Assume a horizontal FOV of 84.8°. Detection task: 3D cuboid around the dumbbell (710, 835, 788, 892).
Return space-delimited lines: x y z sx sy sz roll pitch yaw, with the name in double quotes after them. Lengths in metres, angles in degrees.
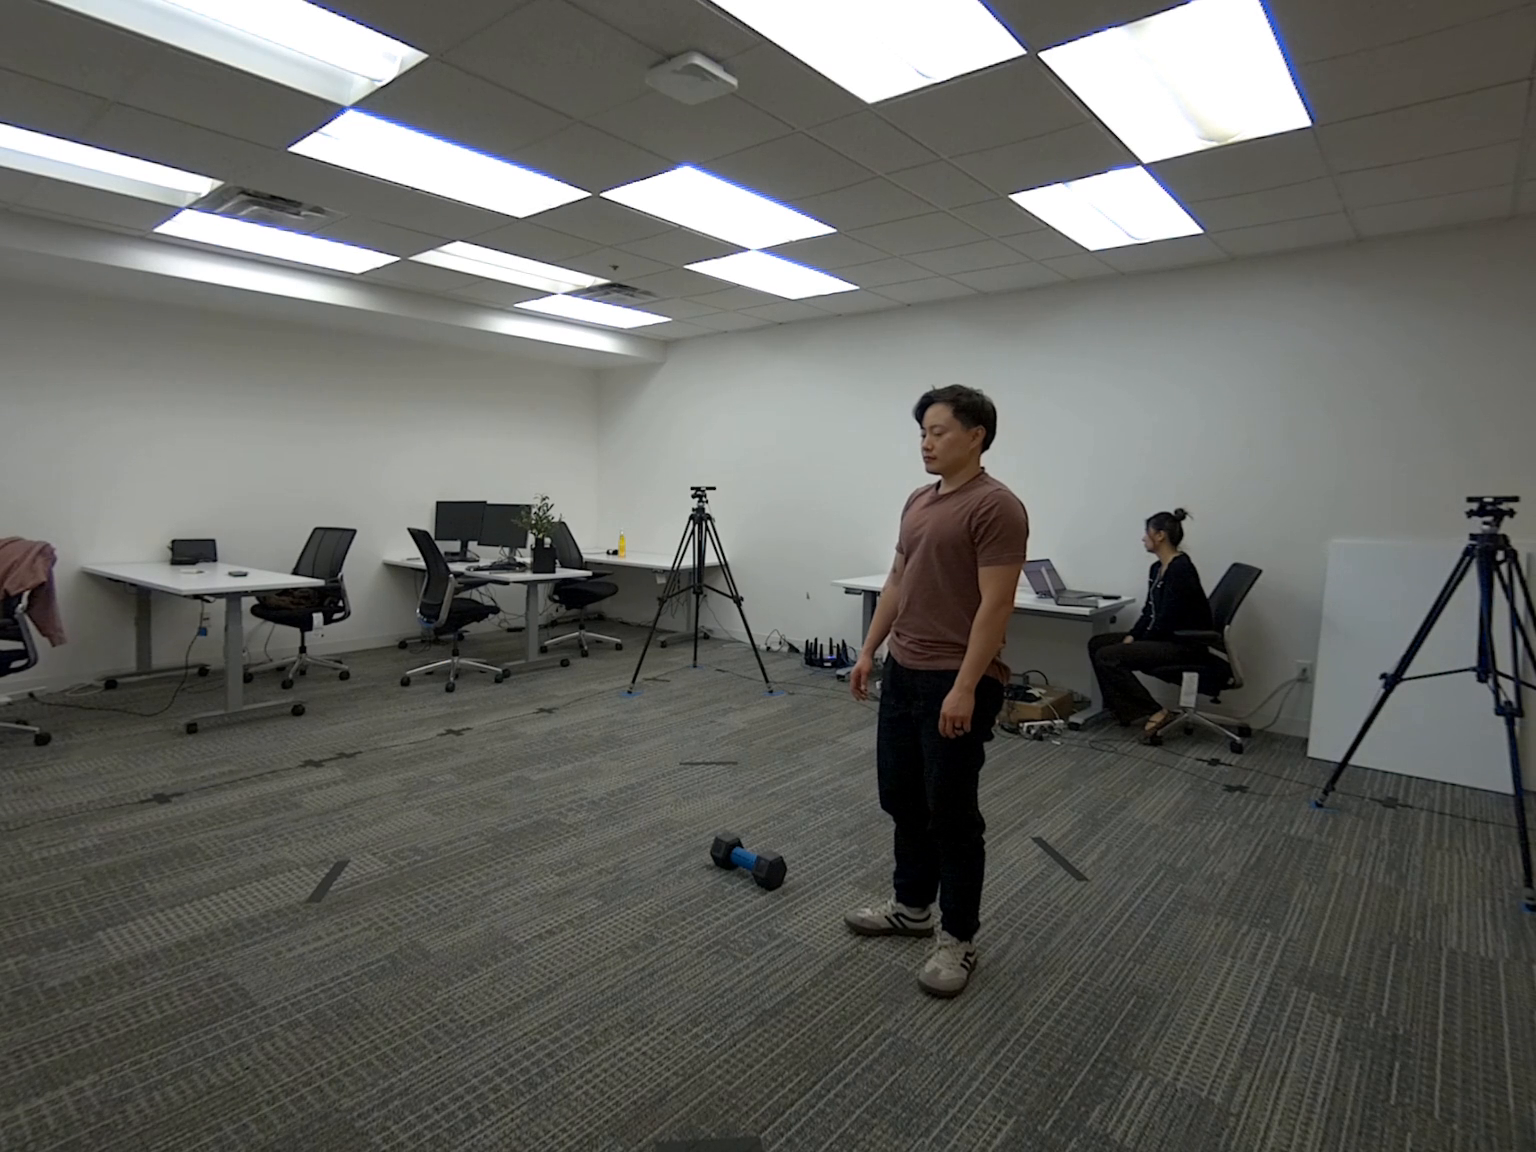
-0.083 1.017 3.053 0.303 0.124 0.104 5 -24 43 "dumbbell"
